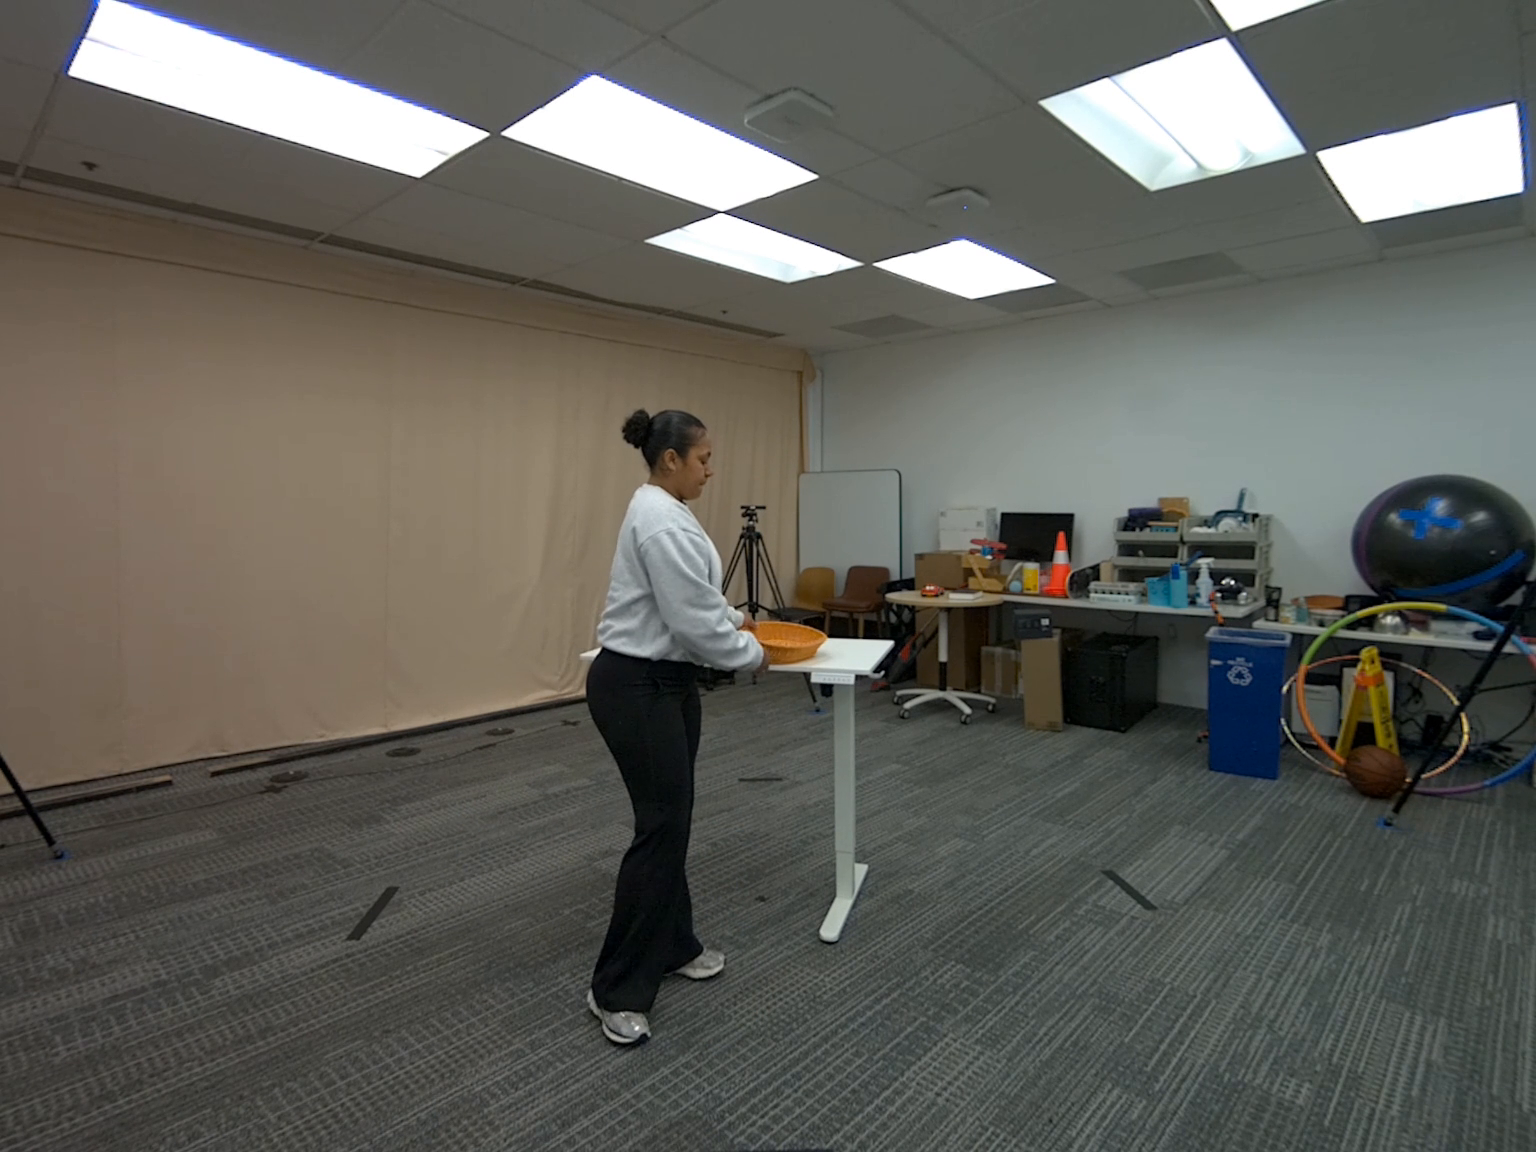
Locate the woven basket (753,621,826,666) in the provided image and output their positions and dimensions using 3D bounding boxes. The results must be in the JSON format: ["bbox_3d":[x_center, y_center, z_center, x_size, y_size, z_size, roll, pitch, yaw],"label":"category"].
[{"bbox_3d":[0.054,0.227,2.781,0.261,0.073,0.340,13,11,37],"label":"woven basket"}]
